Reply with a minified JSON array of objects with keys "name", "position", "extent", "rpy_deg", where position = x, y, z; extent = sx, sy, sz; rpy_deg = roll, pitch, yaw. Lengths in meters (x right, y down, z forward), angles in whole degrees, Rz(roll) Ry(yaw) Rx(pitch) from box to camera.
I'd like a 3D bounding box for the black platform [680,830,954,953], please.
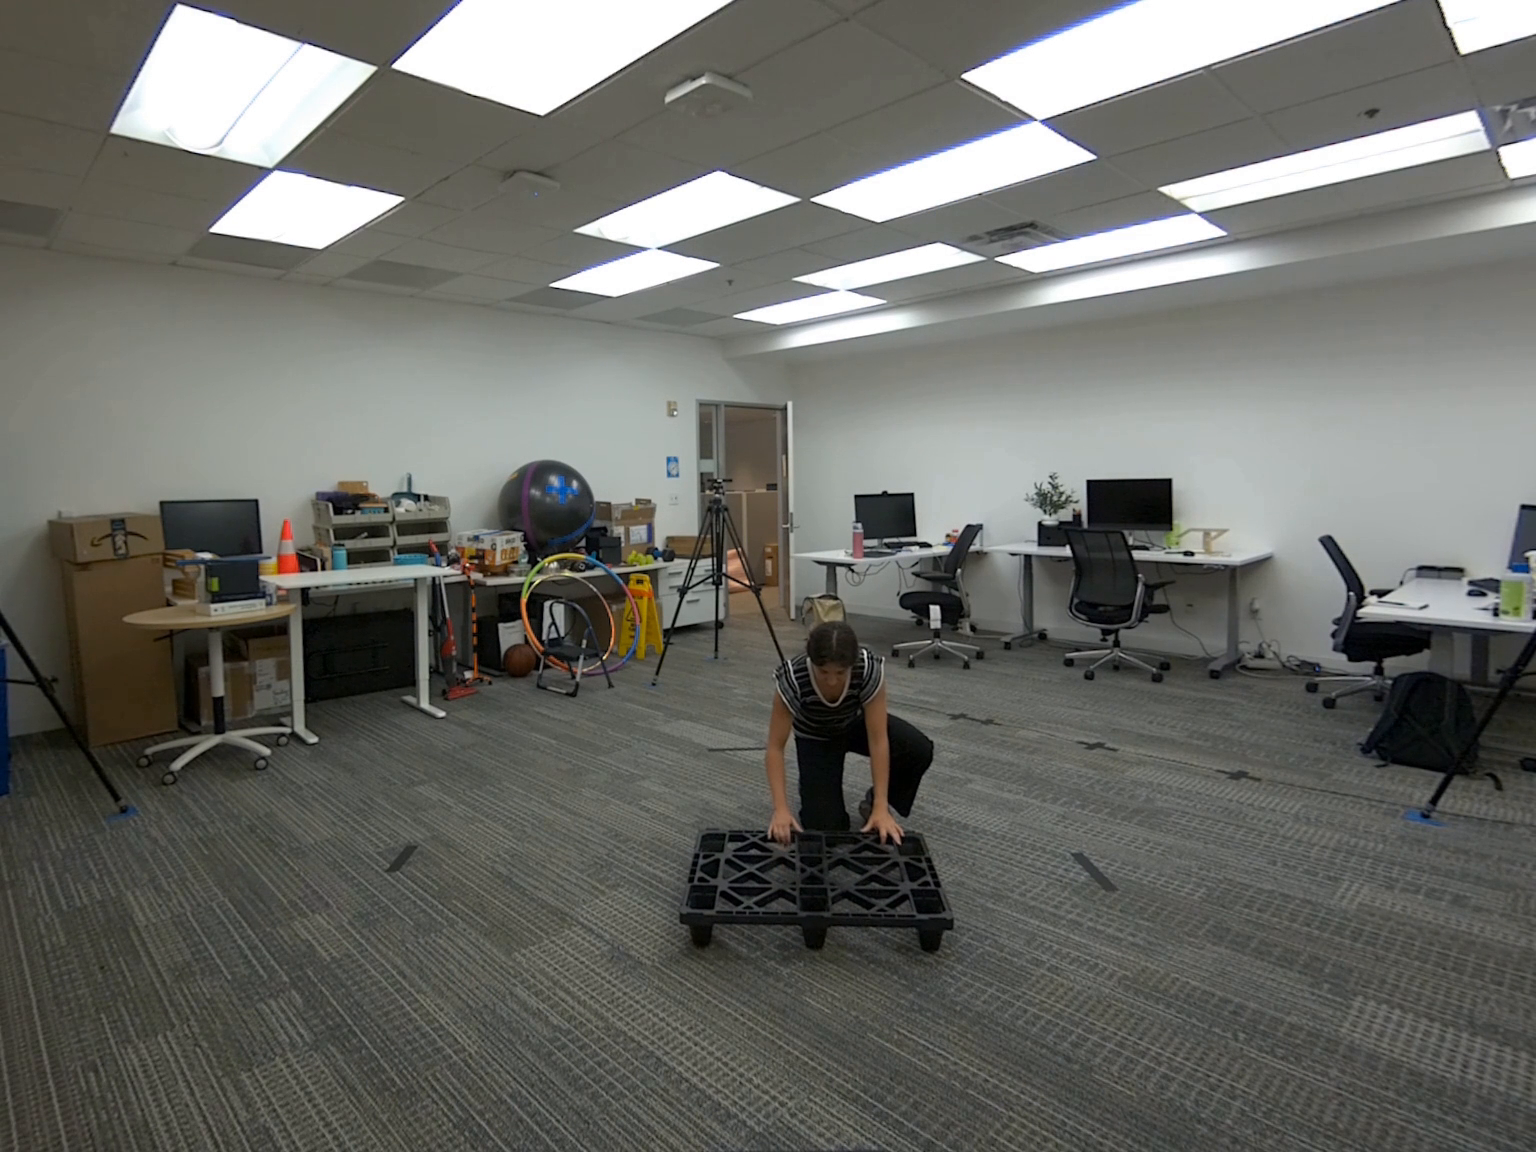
[{"name":"black platform","position":[0.140,1.013,2.773],"extent":[0.809,0.143,0.605],"rpy_deg":[0,6,3]}]
